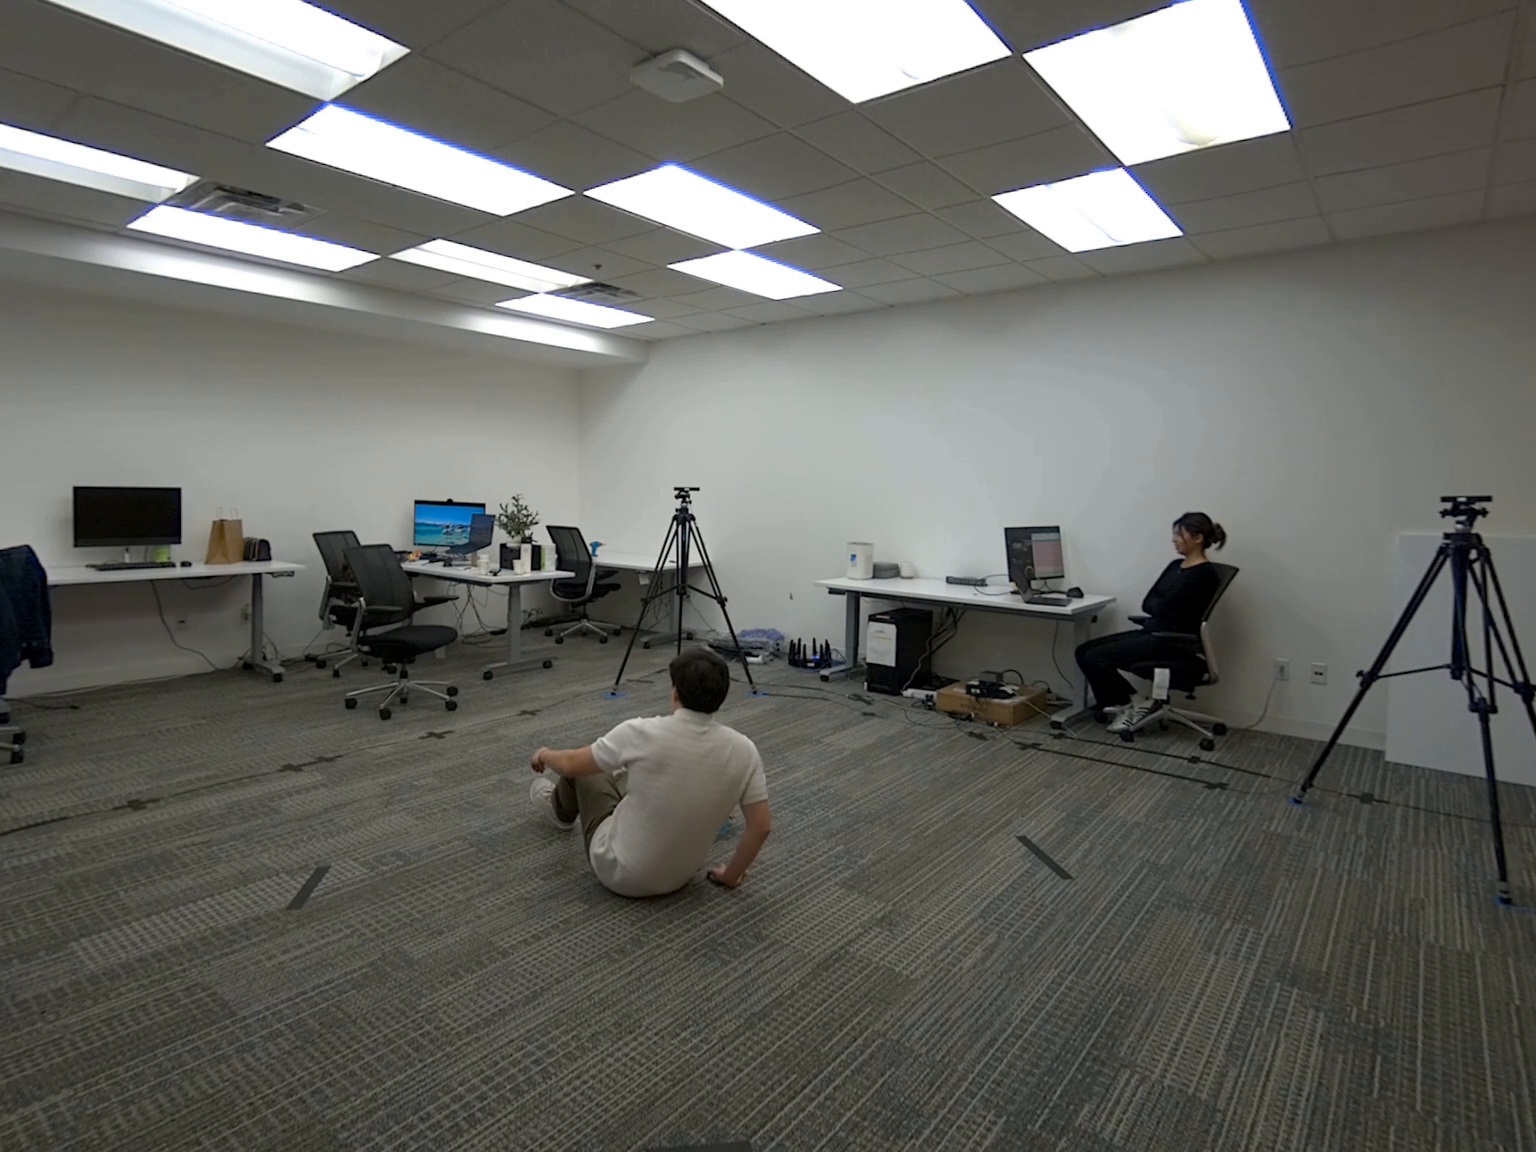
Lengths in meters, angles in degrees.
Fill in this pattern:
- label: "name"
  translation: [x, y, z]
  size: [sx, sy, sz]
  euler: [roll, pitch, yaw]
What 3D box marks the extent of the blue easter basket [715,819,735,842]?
- label: "blue easter basket"
  translation: [-0.260, 0.943, 3.475]
  size: [0.243, 0.155, 0.245]
  euler: [1, 5, -2]
